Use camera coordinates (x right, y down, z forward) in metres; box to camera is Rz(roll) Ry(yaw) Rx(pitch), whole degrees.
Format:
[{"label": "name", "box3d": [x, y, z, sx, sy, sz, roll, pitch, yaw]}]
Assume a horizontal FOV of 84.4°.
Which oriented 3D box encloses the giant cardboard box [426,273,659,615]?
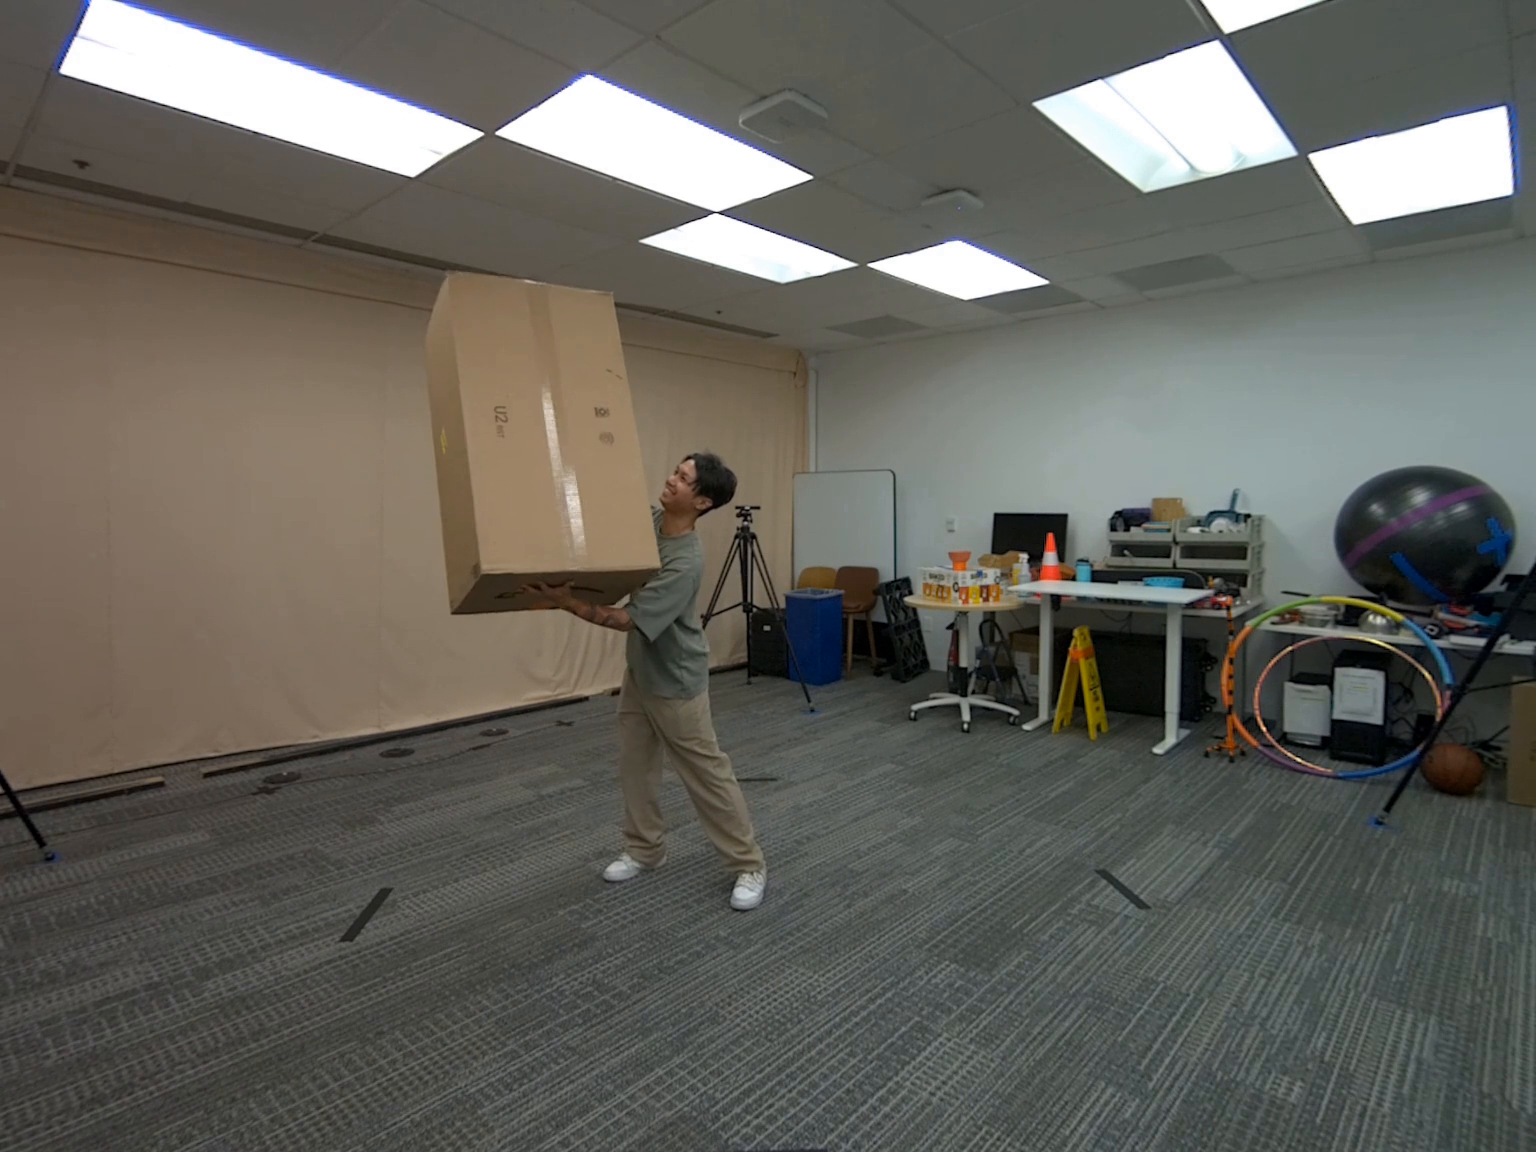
[{"label": "giant cardboard box", "box3d": [-0.782, -0.428, 2.836, 0.562, 1.039, 0.432, -3, -19, -31]}]
